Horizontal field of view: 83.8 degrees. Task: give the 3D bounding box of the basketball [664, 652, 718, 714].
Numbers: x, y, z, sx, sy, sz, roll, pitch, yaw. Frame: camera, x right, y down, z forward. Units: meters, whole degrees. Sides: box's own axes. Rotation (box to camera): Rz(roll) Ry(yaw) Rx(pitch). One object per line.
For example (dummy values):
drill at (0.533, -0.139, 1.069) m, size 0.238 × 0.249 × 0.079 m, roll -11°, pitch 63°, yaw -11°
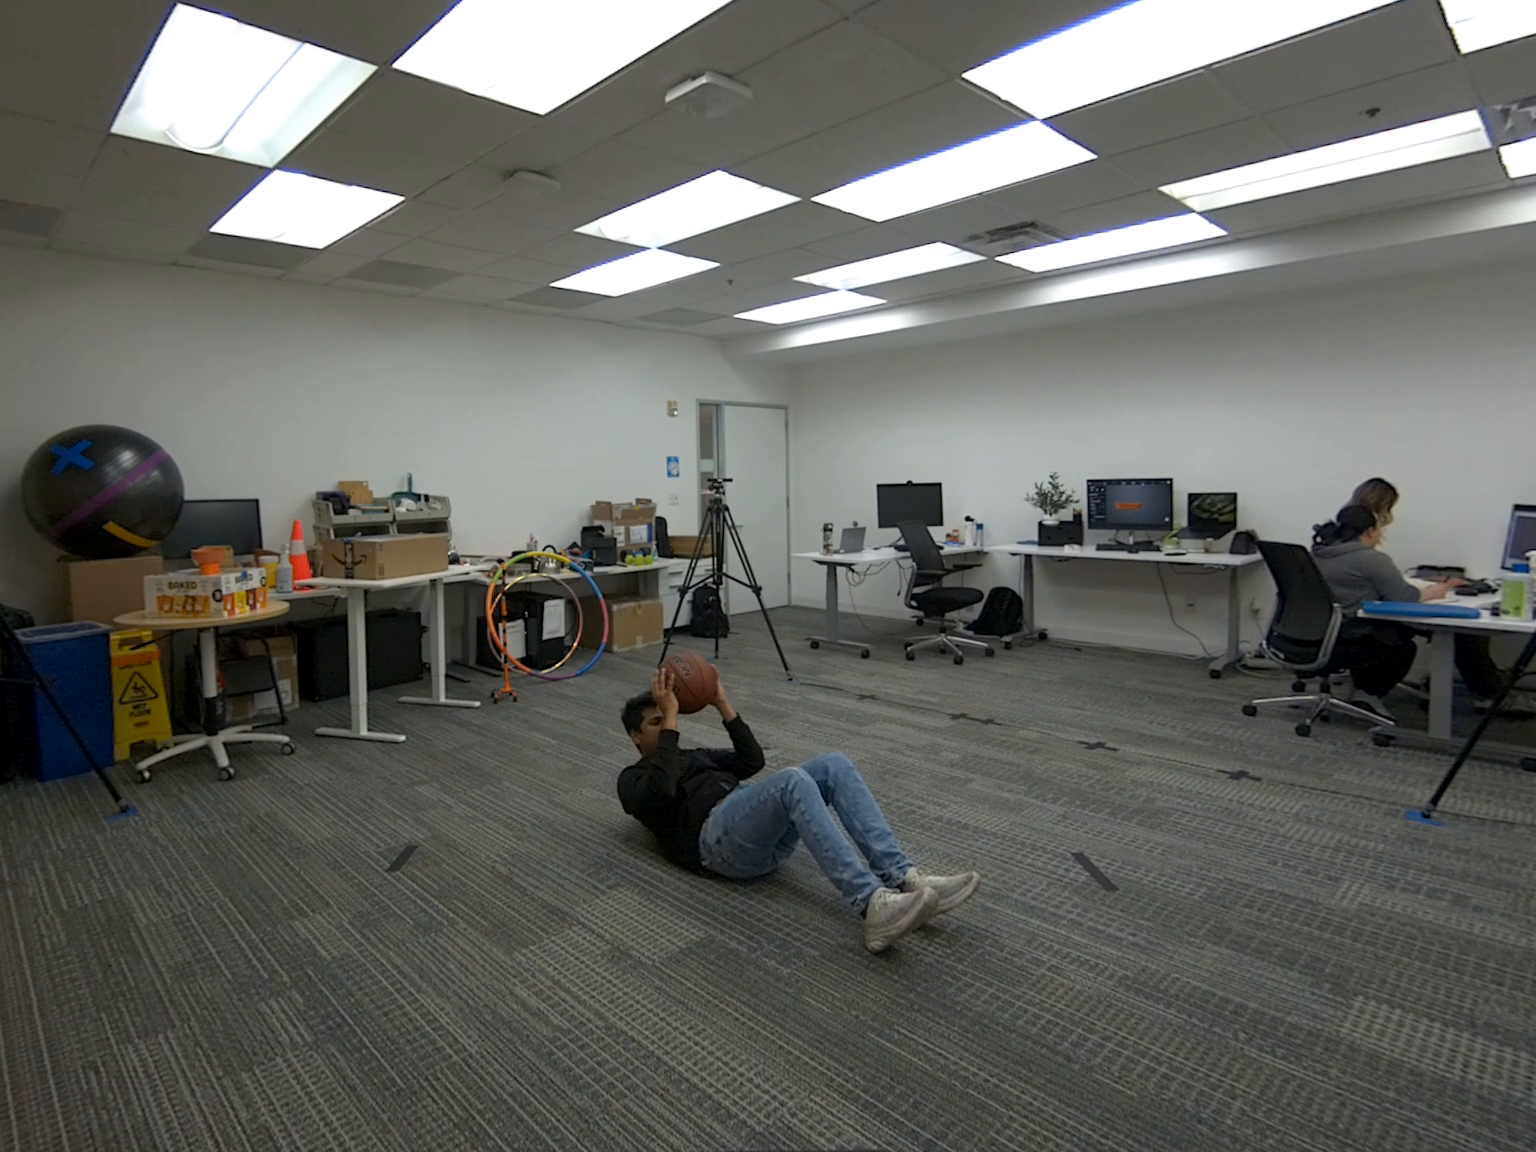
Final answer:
basketball at (-0.326, 0.419, 3.316) m, size 0.236 × 0.235 × 0.237 m, roll -1°, pitch 5°, yaw -2°
